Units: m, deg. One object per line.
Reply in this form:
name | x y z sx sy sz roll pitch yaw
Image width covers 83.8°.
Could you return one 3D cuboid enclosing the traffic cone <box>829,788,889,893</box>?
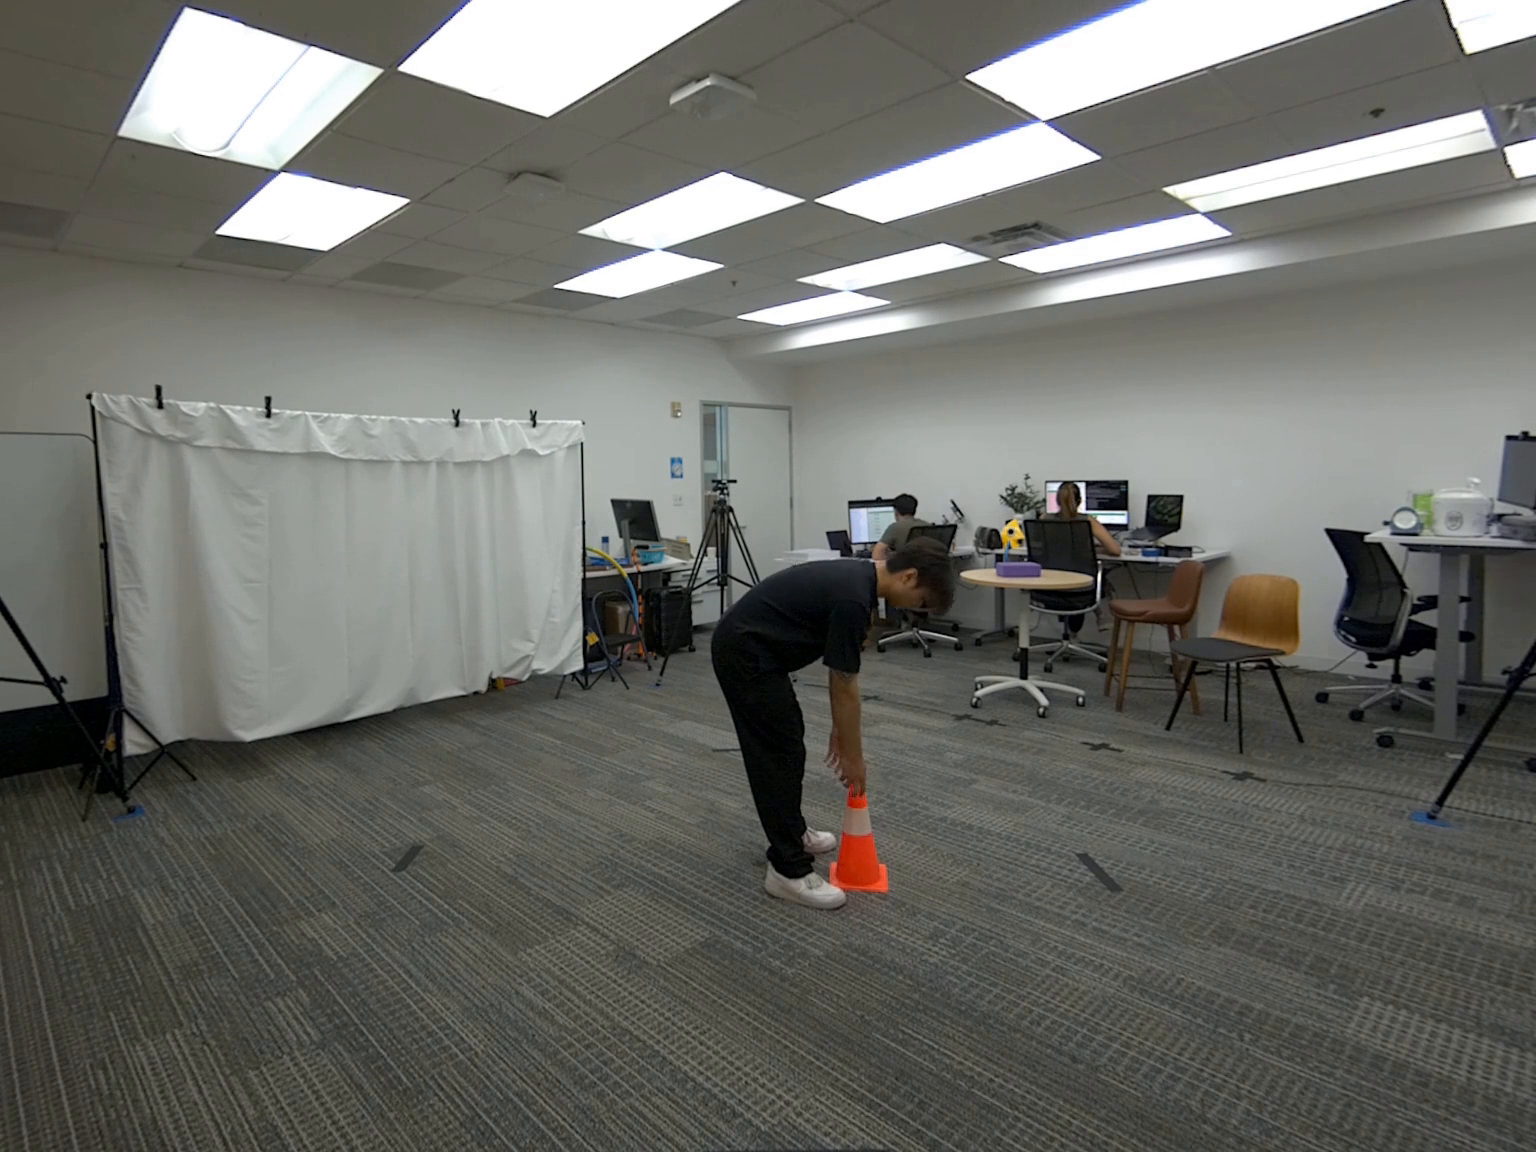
traffic cone | 0.315 0.872 2.976 0.204 0.382 0.205 -2 5 4
